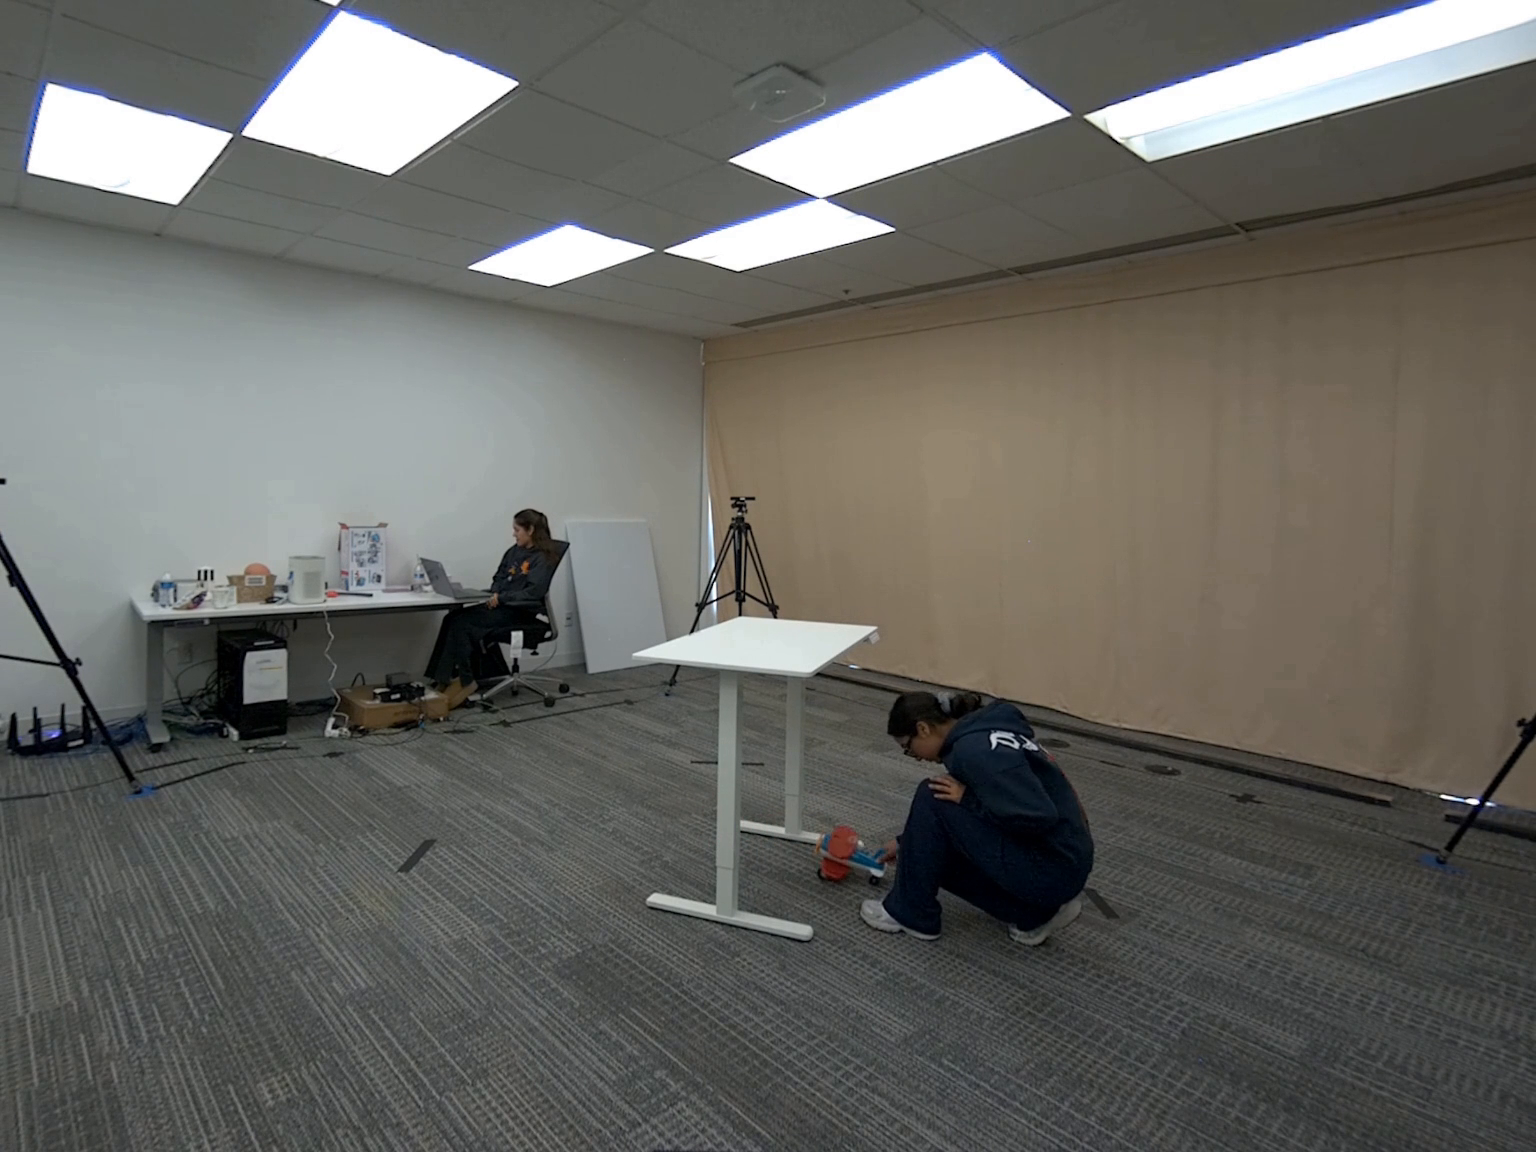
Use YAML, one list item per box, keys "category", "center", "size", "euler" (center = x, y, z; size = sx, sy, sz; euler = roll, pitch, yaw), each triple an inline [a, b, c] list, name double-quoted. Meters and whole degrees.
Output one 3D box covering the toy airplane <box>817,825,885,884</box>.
- category: "toy airplane"
  center: [0.306, 1.037, 3.130]
  size: [0.257, 0.156, 0.254]
  euler: [-1, 6, -12]
